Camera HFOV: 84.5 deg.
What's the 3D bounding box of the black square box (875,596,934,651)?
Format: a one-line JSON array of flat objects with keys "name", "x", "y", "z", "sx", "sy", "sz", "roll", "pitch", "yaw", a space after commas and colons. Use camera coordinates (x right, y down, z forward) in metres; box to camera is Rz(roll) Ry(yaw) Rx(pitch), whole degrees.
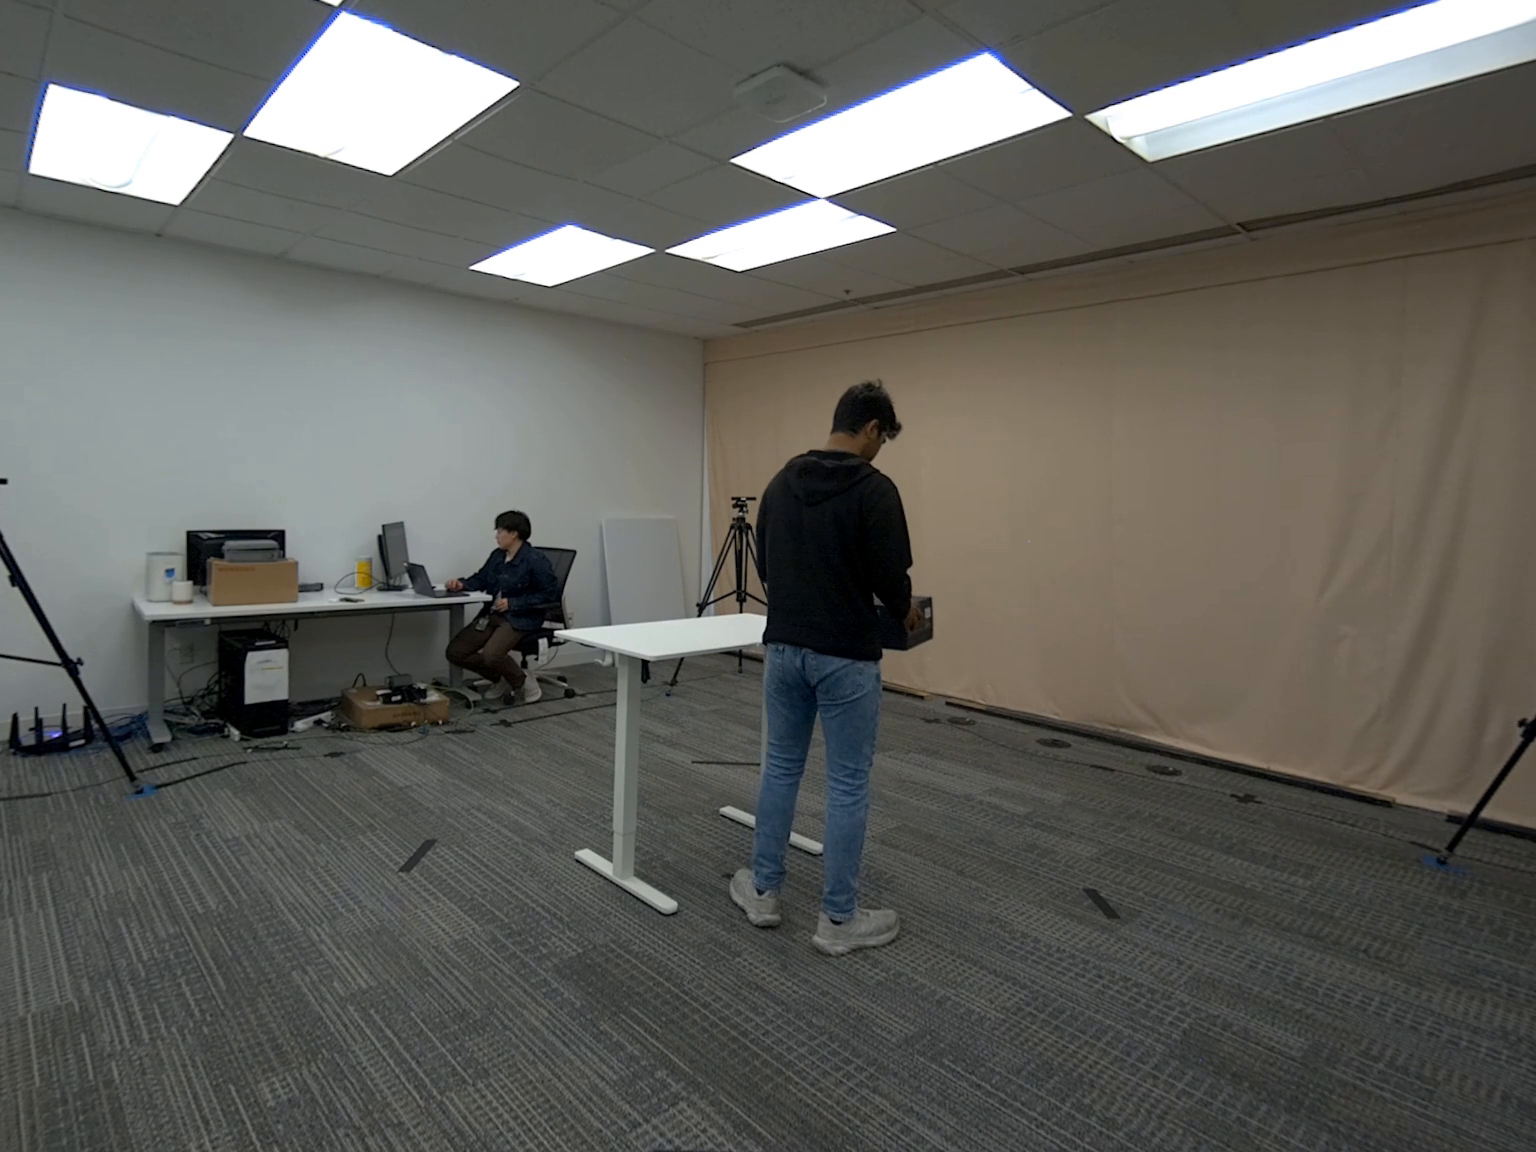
[{"name": "black square box", "x": 0.429, "y": 0.175, "z": 3.033, "sx": 0.233, "sy": 0.155, "sz": 0.213, "roll": 2, "pitch": 9, "yaw": 36}]
